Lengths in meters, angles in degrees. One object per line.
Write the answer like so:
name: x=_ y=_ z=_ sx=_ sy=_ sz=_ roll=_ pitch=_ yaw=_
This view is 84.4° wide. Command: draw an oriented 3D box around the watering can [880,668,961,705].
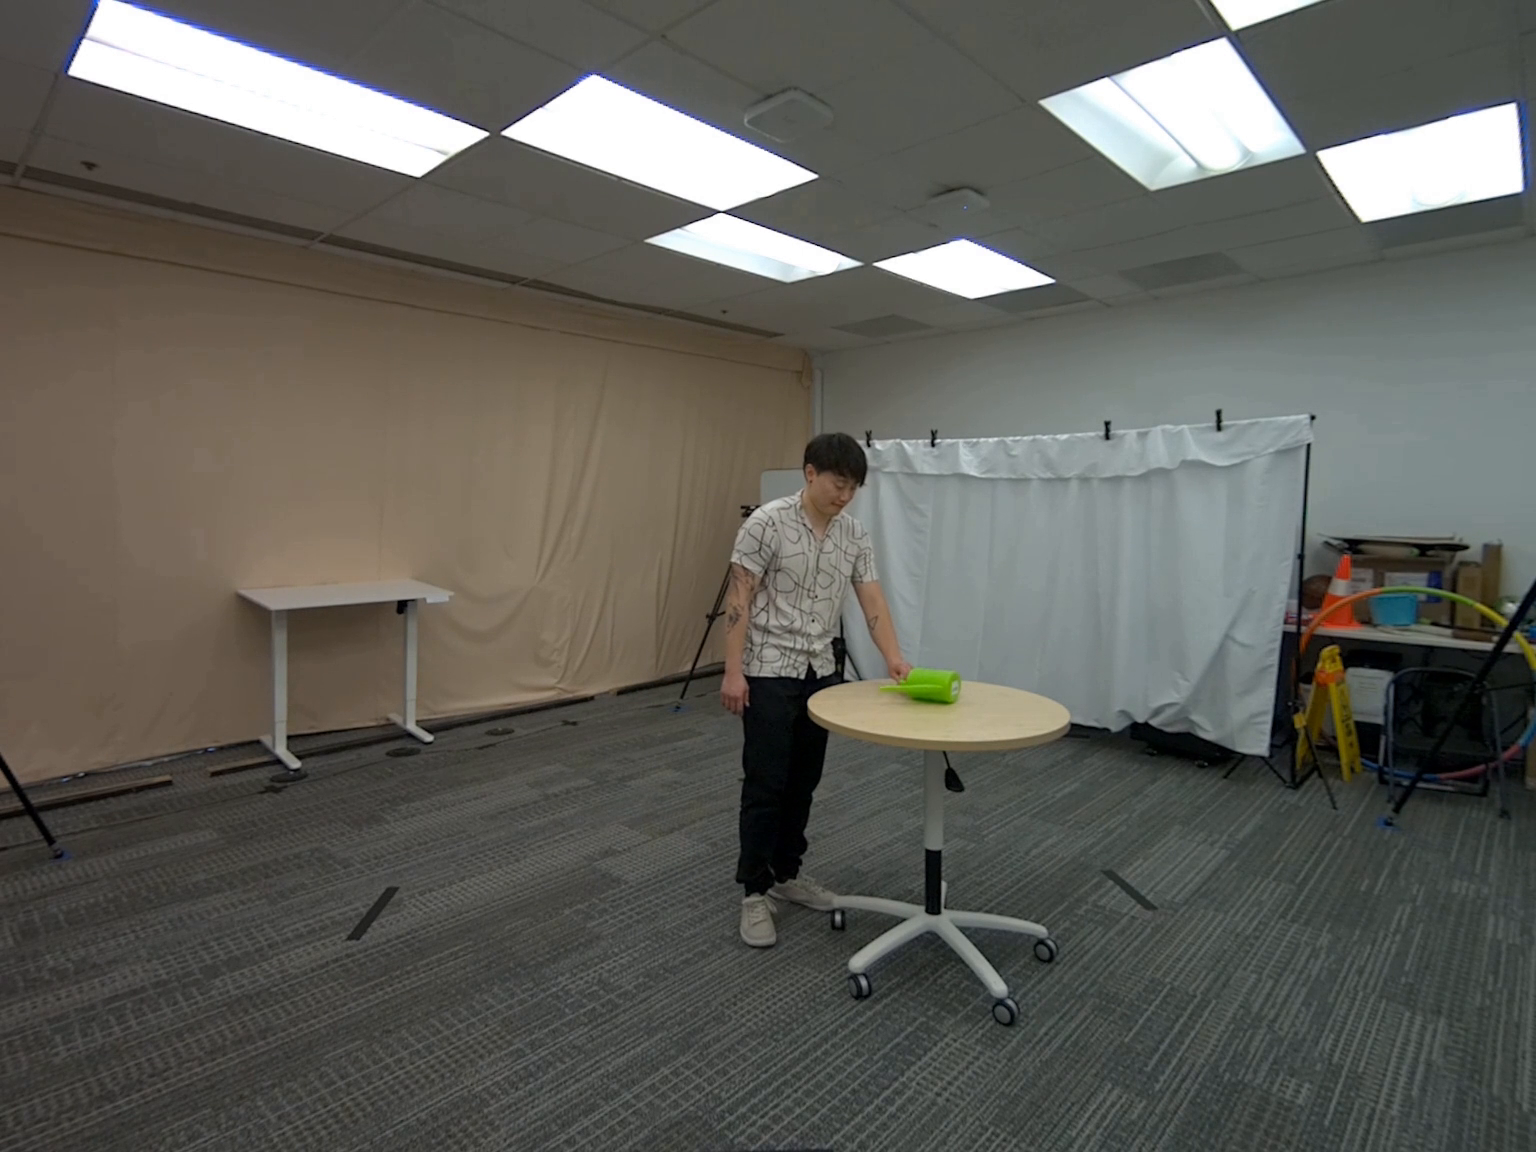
watering can: x=0.486 y=0.351 z=2.602 sx=0.182 sy=0.097 sz=0.272 roll=1 pitch=15 yaw=33
